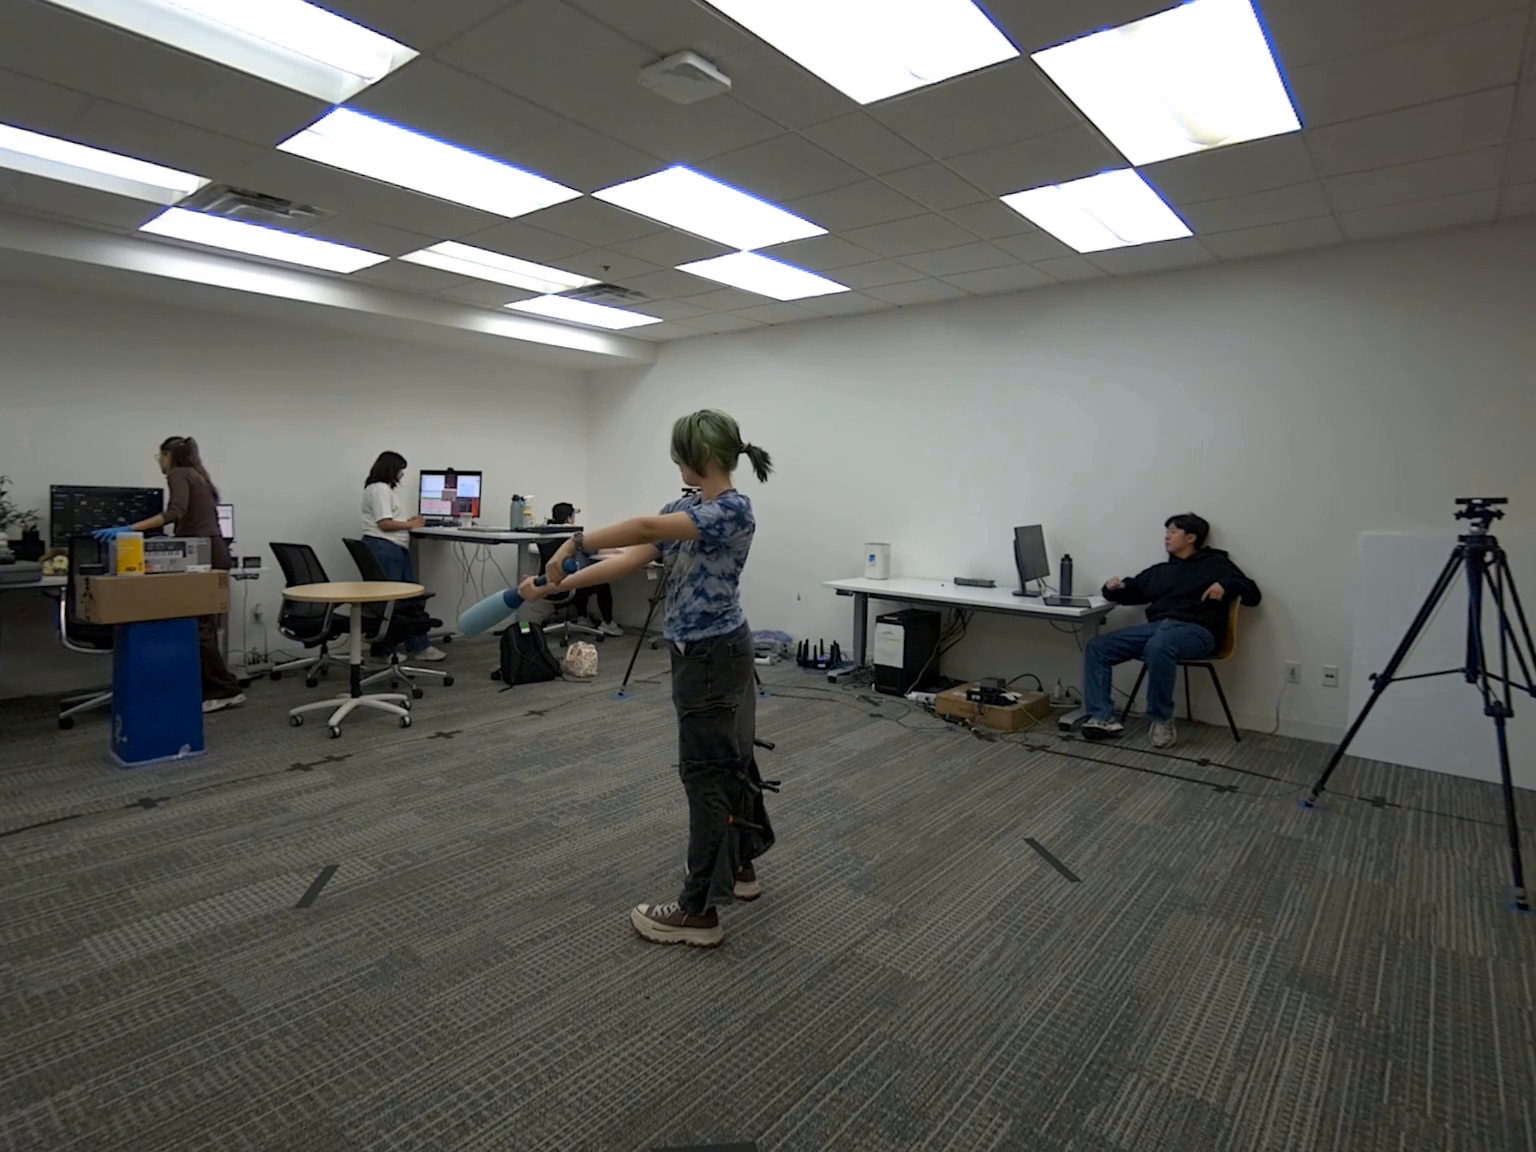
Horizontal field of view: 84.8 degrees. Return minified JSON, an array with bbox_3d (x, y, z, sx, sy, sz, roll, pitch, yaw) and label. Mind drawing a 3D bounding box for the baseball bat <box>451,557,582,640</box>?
[{"bbox_3d":[-0.795,0.068,2.638,0.551,0.090,0.086,-24,-11,34],"label":"baseball bat"}]
